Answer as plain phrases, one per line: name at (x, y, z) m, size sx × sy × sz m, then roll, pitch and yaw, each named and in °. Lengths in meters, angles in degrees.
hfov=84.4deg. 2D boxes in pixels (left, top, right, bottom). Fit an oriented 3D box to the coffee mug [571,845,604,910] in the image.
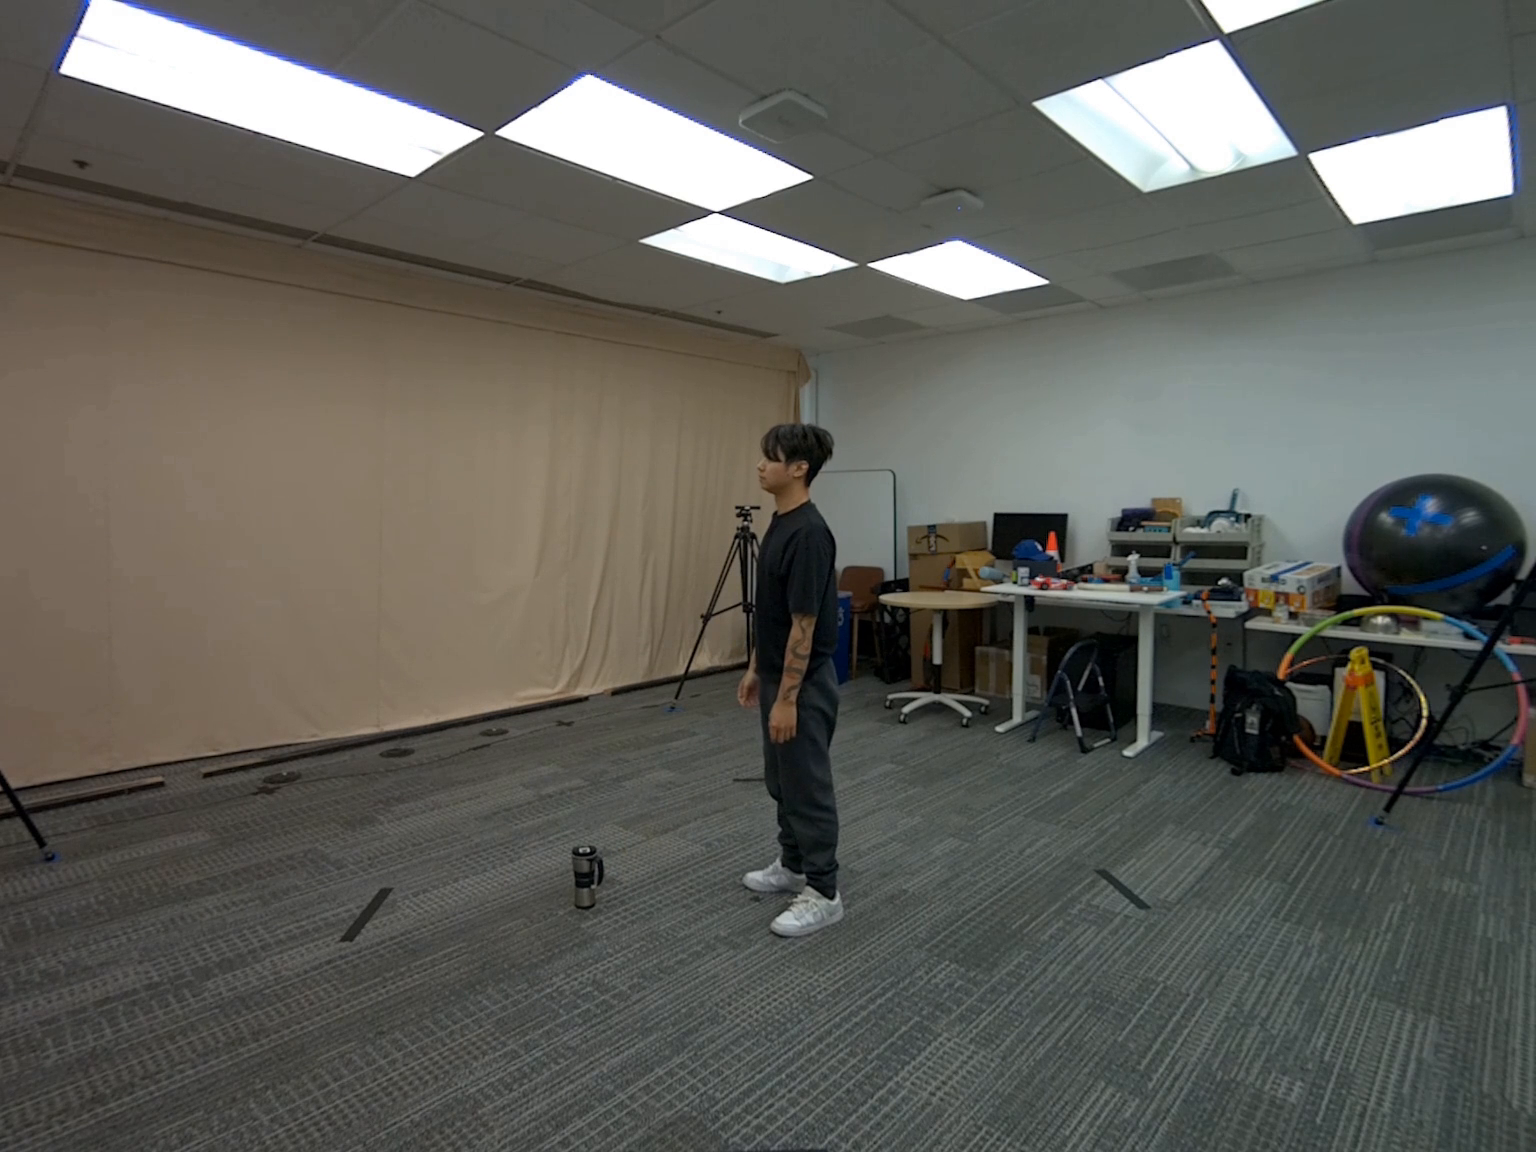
coffee mug at (-0.629, 1.060, 2.922) m, size 0.126 × 0.203 × 0.085 m, roll -1°, pitch -3°, yaw 40°
